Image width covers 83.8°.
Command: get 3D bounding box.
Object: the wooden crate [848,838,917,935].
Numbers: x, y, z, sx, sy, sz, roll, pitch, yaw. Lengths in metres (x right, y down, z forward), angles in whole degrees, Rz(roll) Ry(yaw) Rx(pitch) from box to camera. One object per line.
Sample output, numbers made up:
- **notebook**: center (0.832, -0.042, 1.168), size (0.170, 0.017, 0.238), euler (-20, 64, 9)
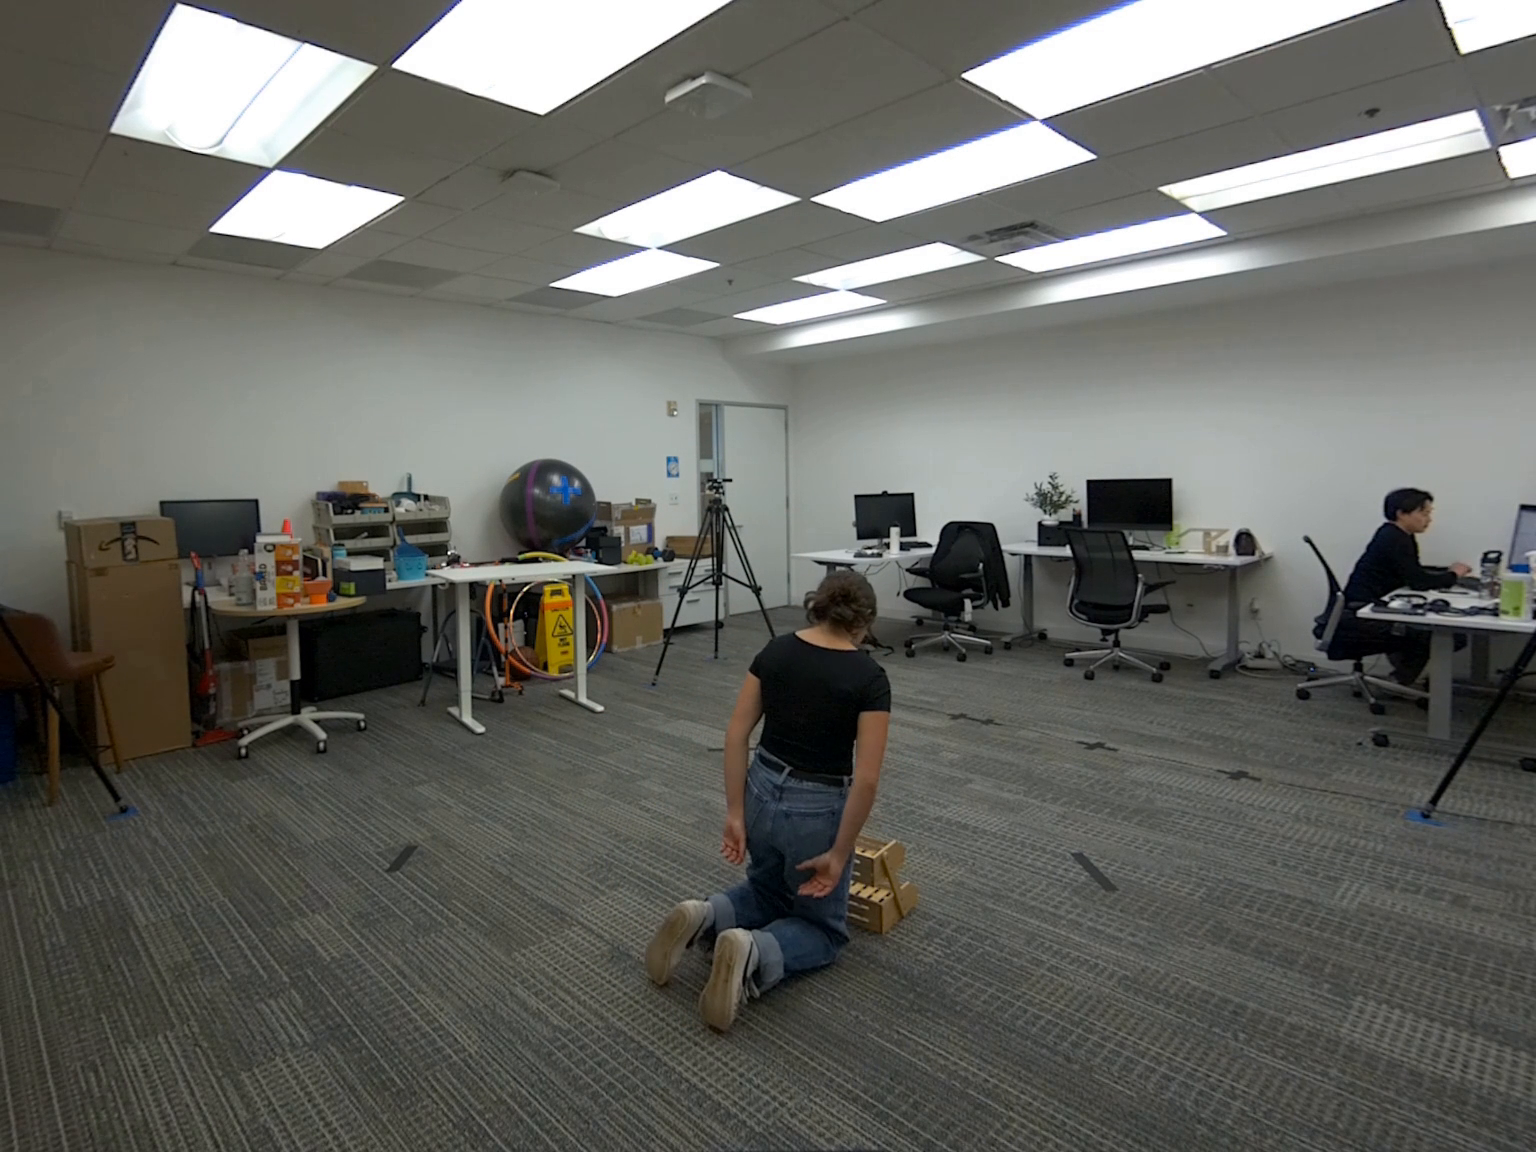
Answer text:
- **wooden crate**: center (0.288, 0.945, 2.770), size (0.334, 0.272, 0.295), euler (3, 7, 37)
